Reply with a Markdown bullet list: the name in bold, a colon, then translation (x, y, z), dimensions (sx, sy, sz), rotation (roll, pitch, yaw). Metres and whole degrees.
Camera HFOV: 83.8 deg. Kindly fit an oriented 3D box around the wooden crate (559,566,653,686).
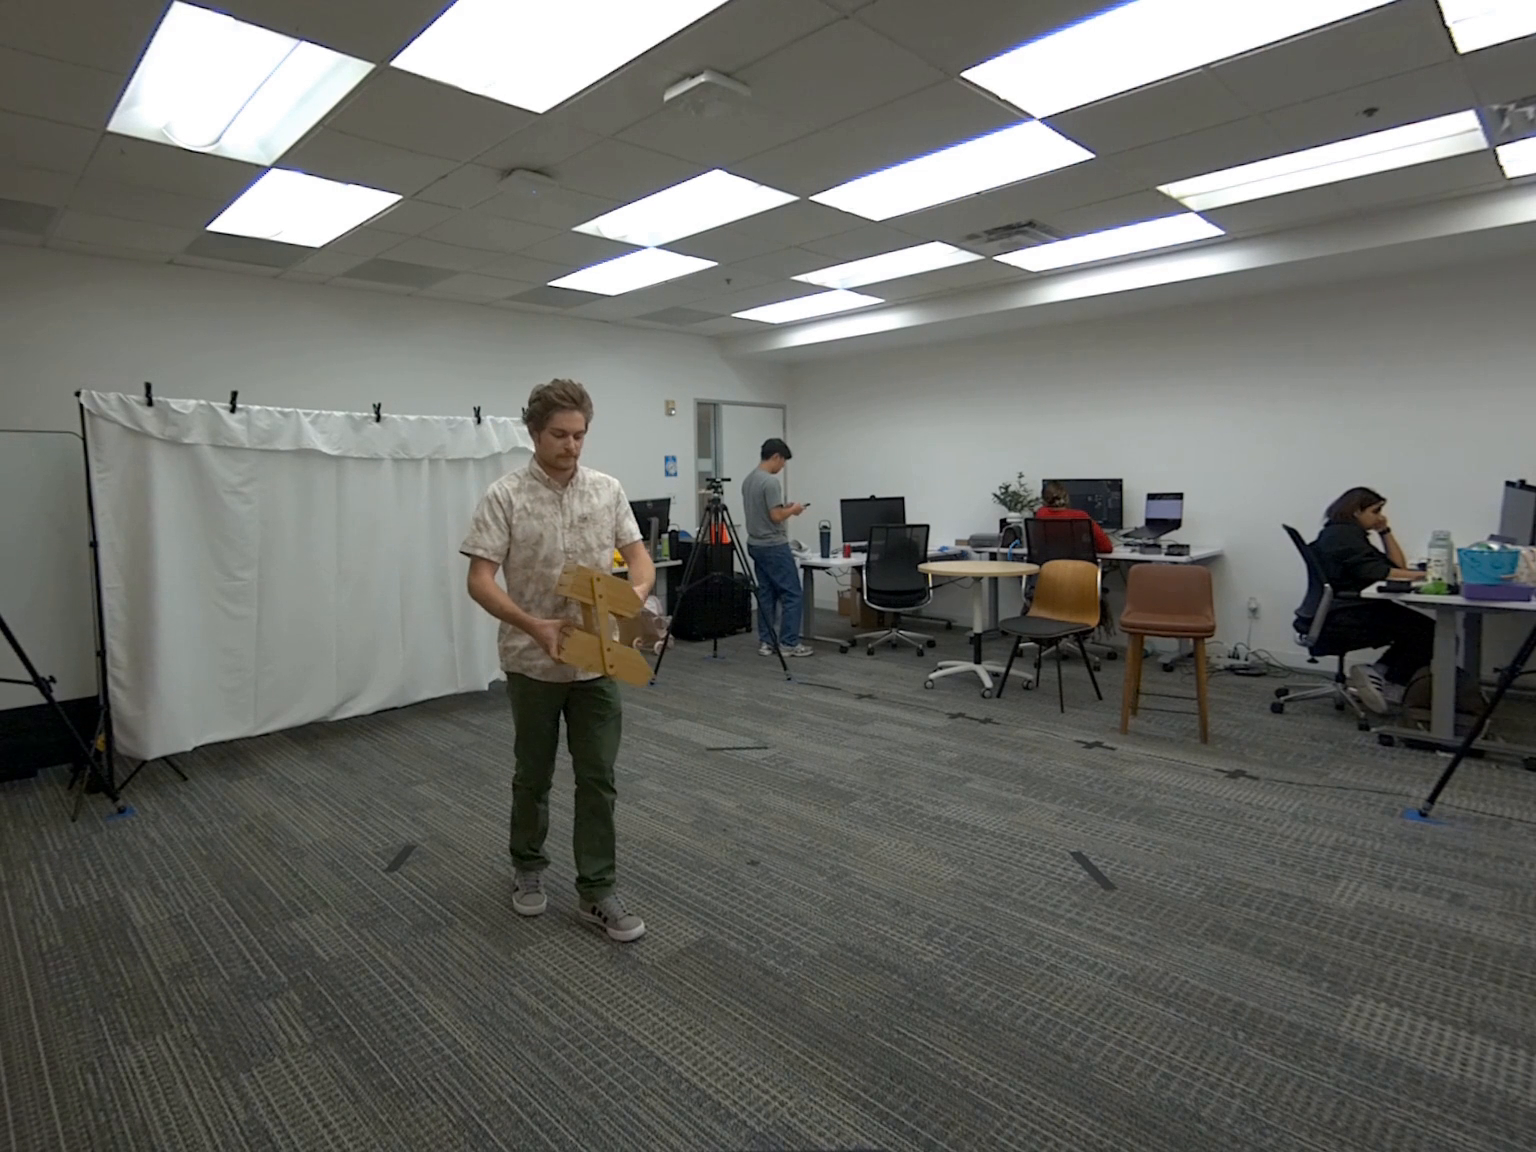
- **wooden crate**: translation (-0.456, 0.132, 2.458), dimensions (0.297, 0.274, 0.329), rotation (20, -7, -16)
